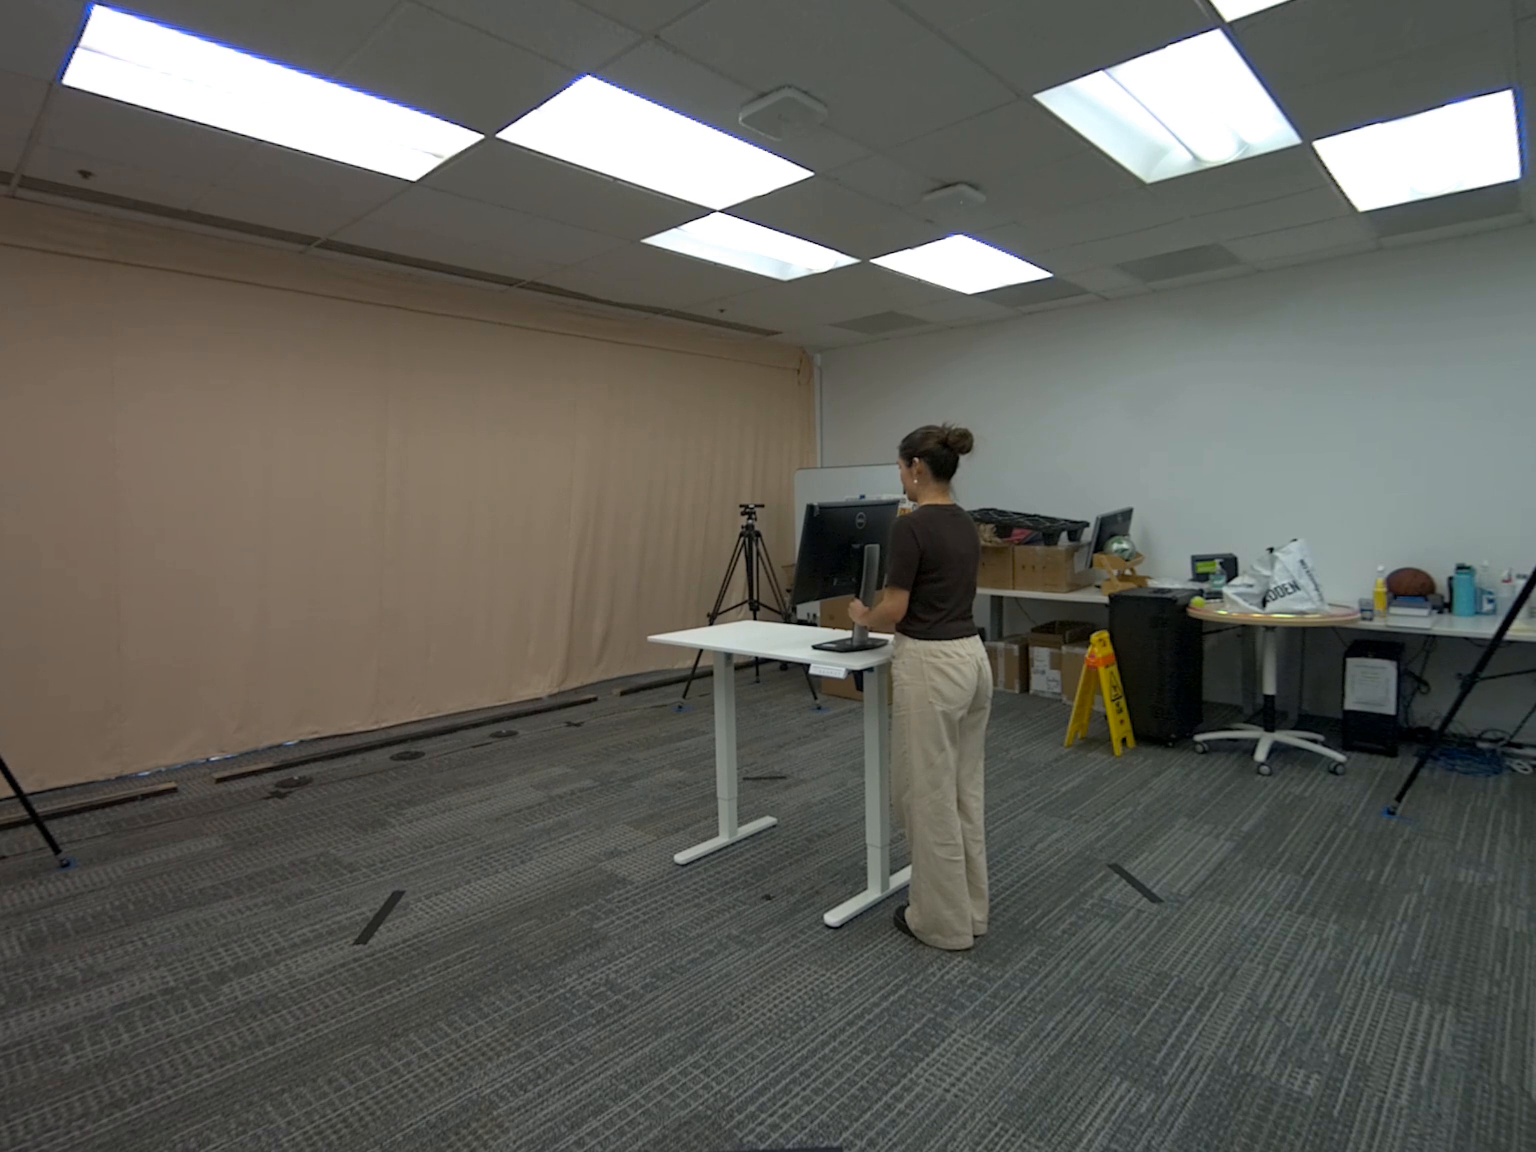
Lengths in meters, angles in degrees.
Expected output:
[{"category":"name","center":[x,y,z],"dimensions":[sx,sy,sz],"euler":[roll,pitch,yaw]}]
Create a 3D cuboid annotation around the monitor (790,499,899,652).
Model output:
[{"category":"monitor","center":[0.306,-0.006,2.968],"dimensions":[0.180,0.515,0.514],"euler":[-3,3,41]}]
